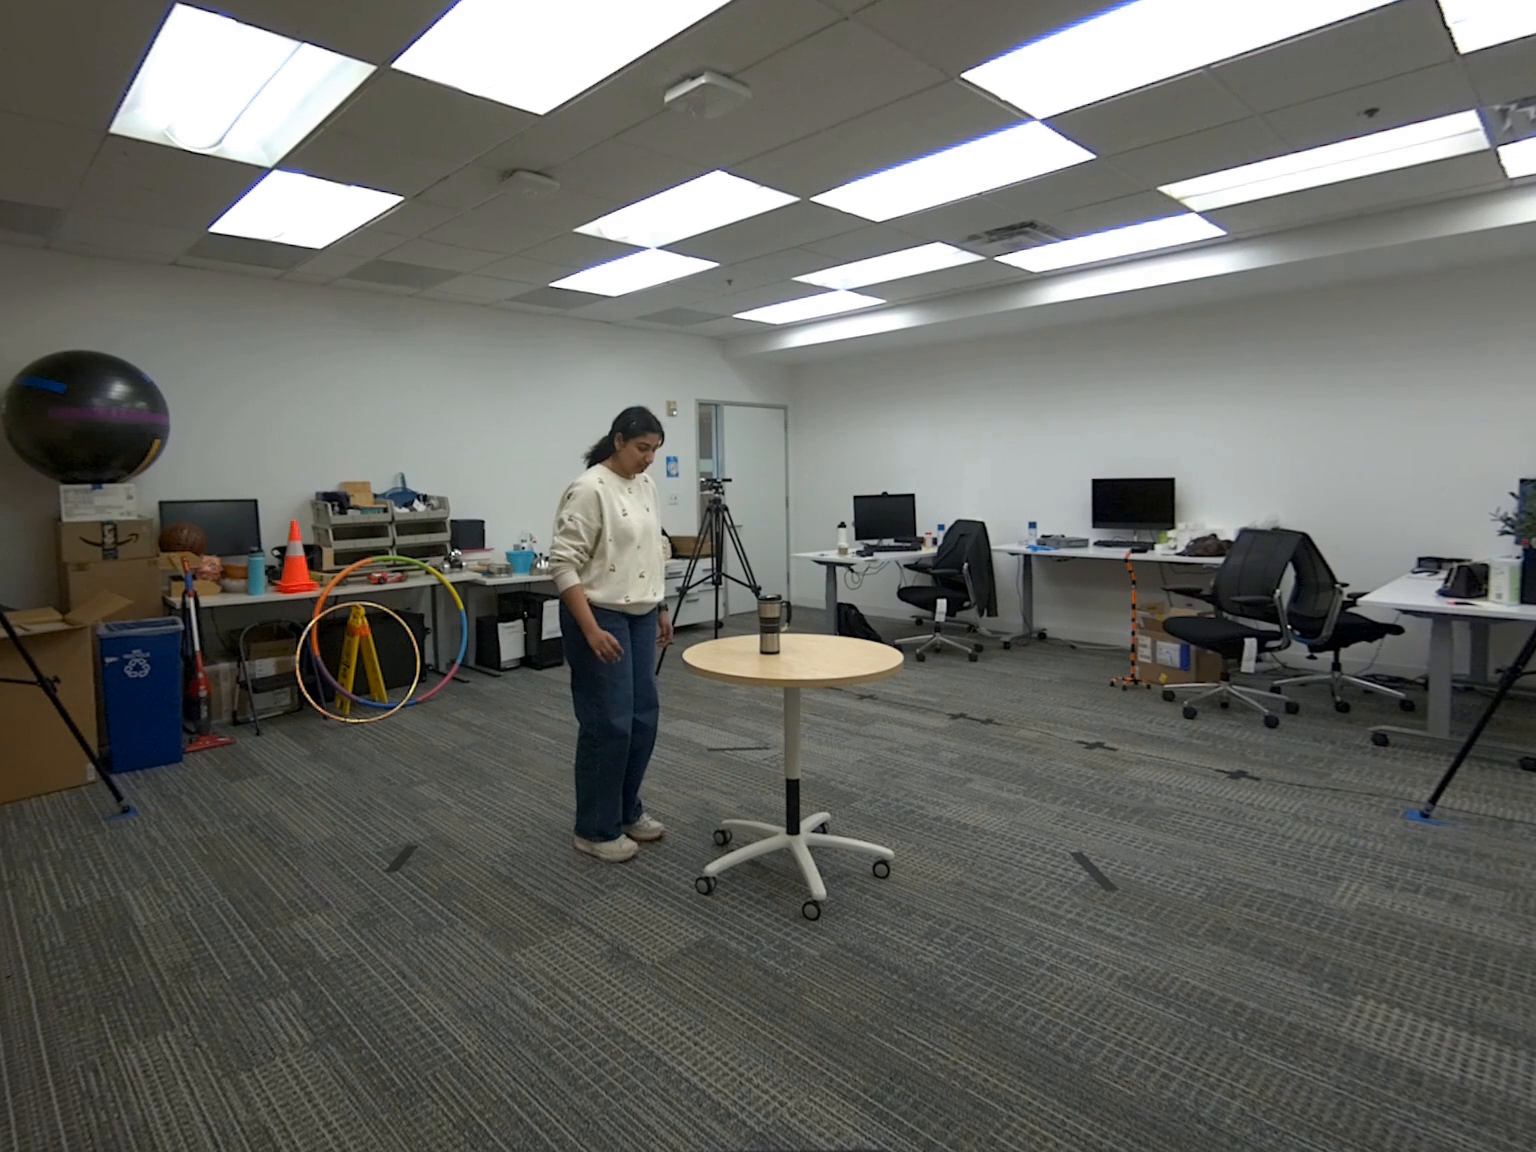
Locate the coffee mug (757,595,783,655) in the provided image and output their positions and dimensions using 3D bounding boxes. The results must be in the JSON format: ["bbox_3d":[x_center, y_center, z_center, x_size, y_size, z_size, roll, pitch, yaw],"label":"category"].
[{"bbox_3d":[0.021,0.173,2.978,0.125,0.203,0.085,-2,0,35],"label":"coffee mug"}]
